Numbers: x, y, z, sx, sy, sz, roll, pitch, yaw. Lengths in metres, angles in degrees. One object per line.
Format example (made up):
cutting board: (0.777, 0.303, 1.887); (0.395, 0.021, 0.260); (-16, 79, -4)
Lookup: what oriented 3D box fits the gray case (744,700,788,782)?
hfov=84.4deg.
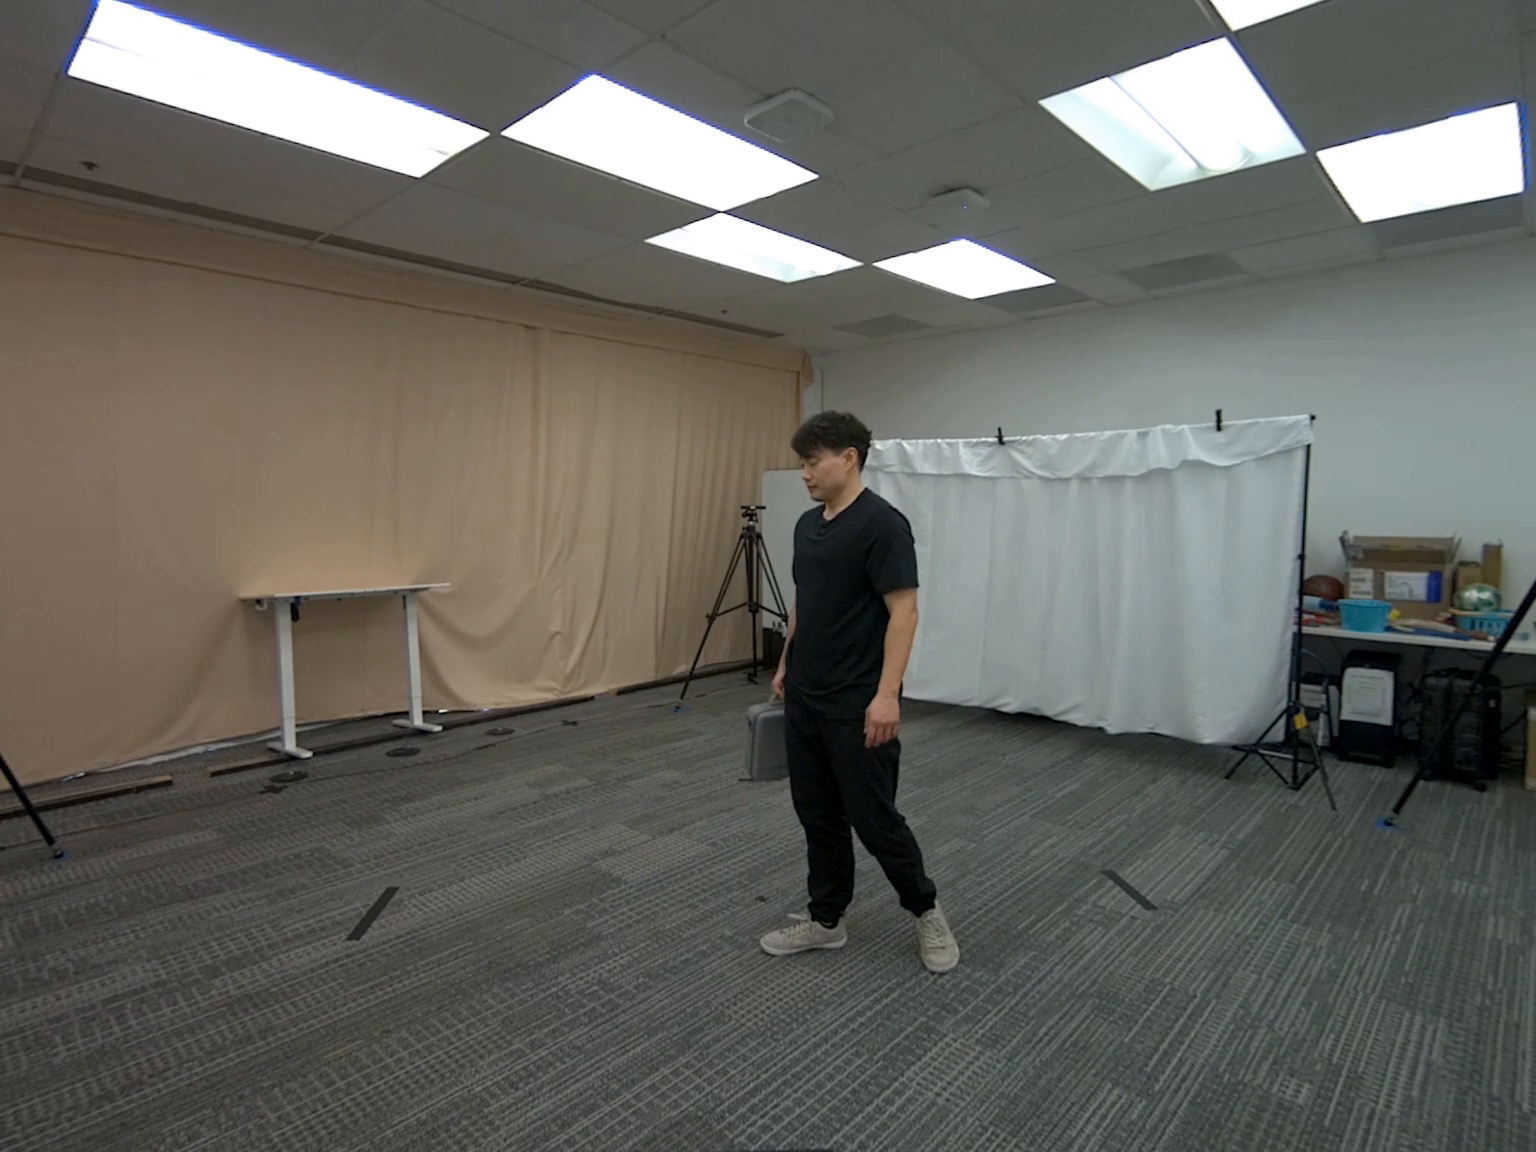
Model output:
gray case: (0.059, 0.550, 2.866); (0.252, 0.259, 0.107); (-1, 12, -18)
